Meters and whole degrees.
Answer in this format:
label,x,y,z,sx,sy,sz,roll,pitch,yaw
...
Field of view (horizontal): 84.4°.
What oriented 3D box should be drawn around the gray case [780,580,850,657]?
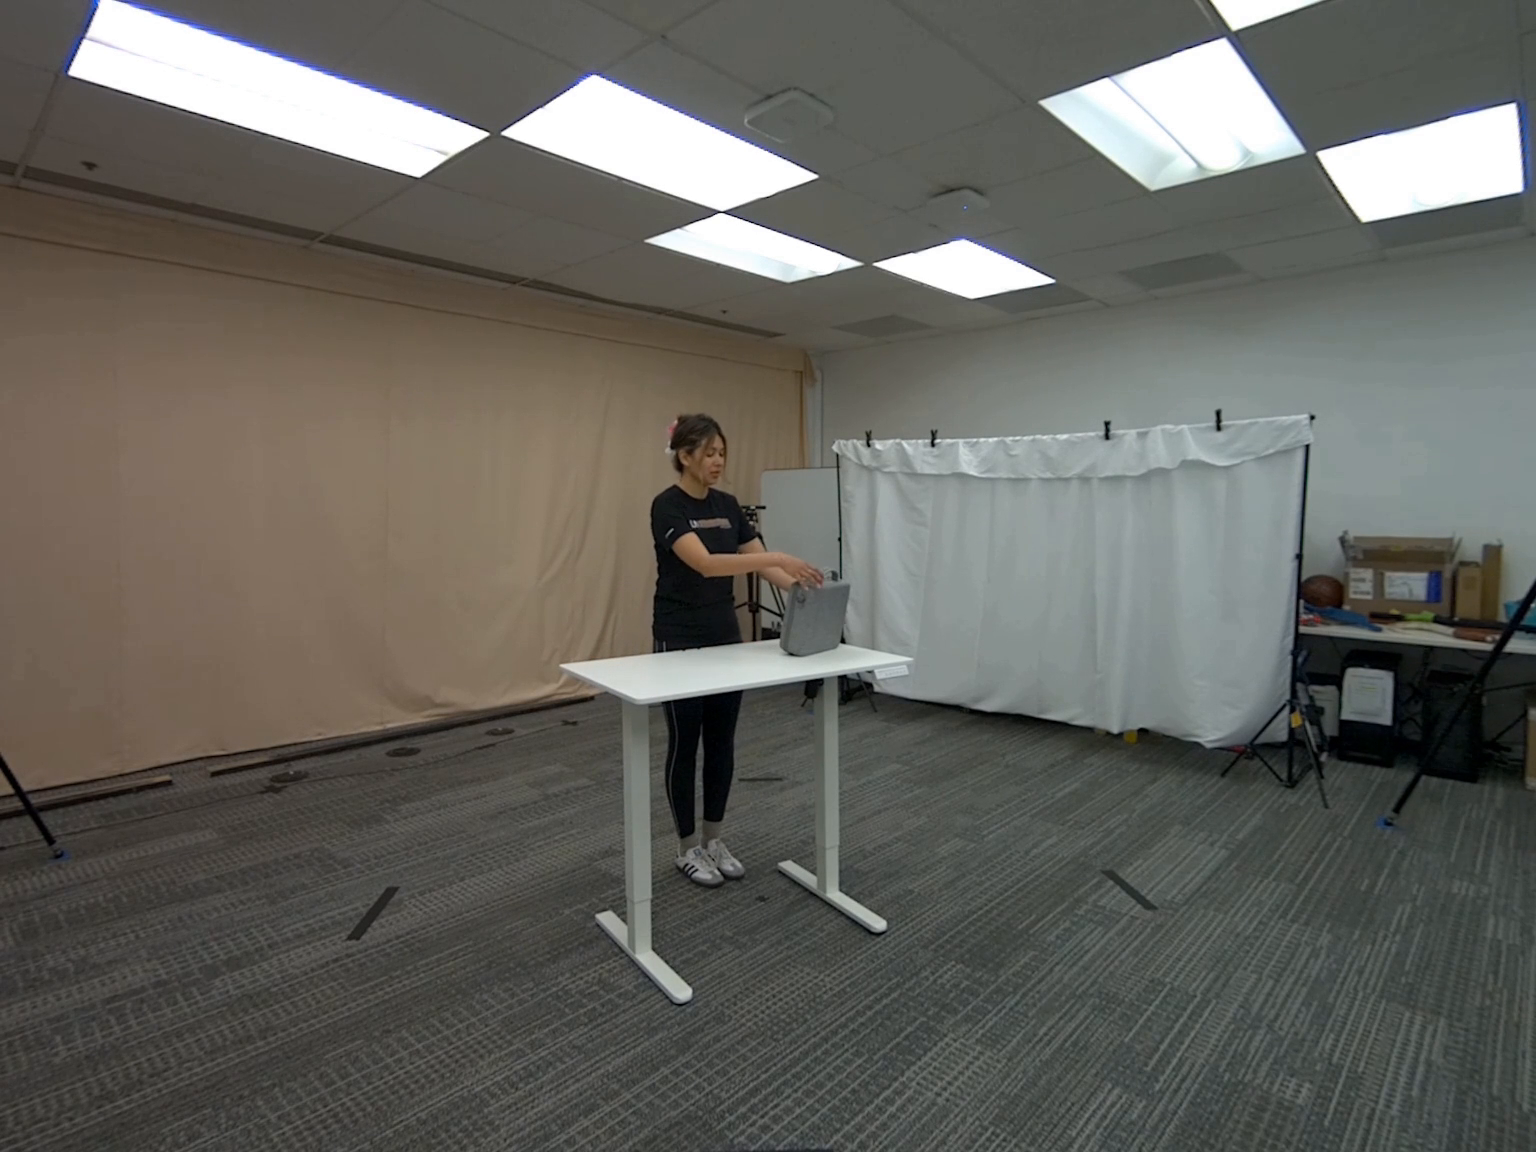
label,x,y,z,sx,sy,sz,roll,pitch,yaw
gray case,0.168,0.133,2.899,0.108,0.259,0.249,18,17,39
